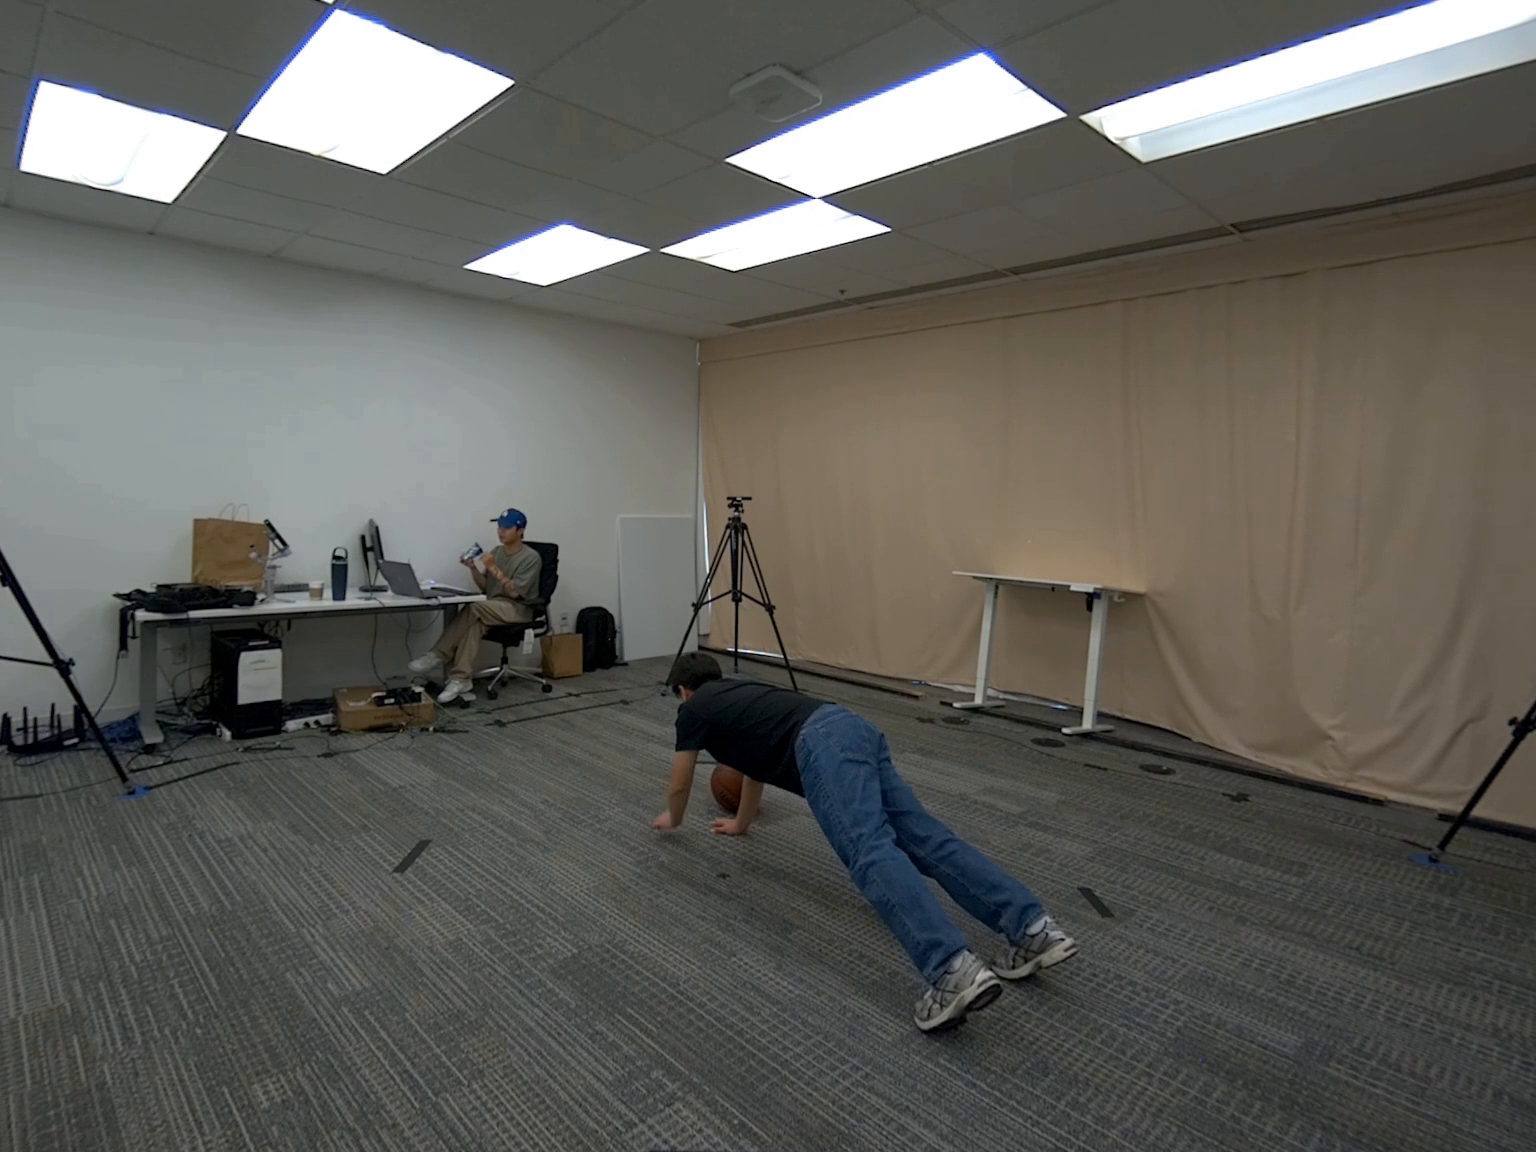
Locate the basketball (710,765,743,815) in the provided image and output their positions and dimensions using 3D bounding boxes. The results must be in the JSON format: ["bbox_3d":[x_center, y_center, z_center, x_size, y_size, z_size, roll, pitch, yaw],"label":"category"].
[{"bbox_3d":[-0.142,0.925,3.773,0.236,0.235,0.237,1,4,-1],"label":"basketball"}]
